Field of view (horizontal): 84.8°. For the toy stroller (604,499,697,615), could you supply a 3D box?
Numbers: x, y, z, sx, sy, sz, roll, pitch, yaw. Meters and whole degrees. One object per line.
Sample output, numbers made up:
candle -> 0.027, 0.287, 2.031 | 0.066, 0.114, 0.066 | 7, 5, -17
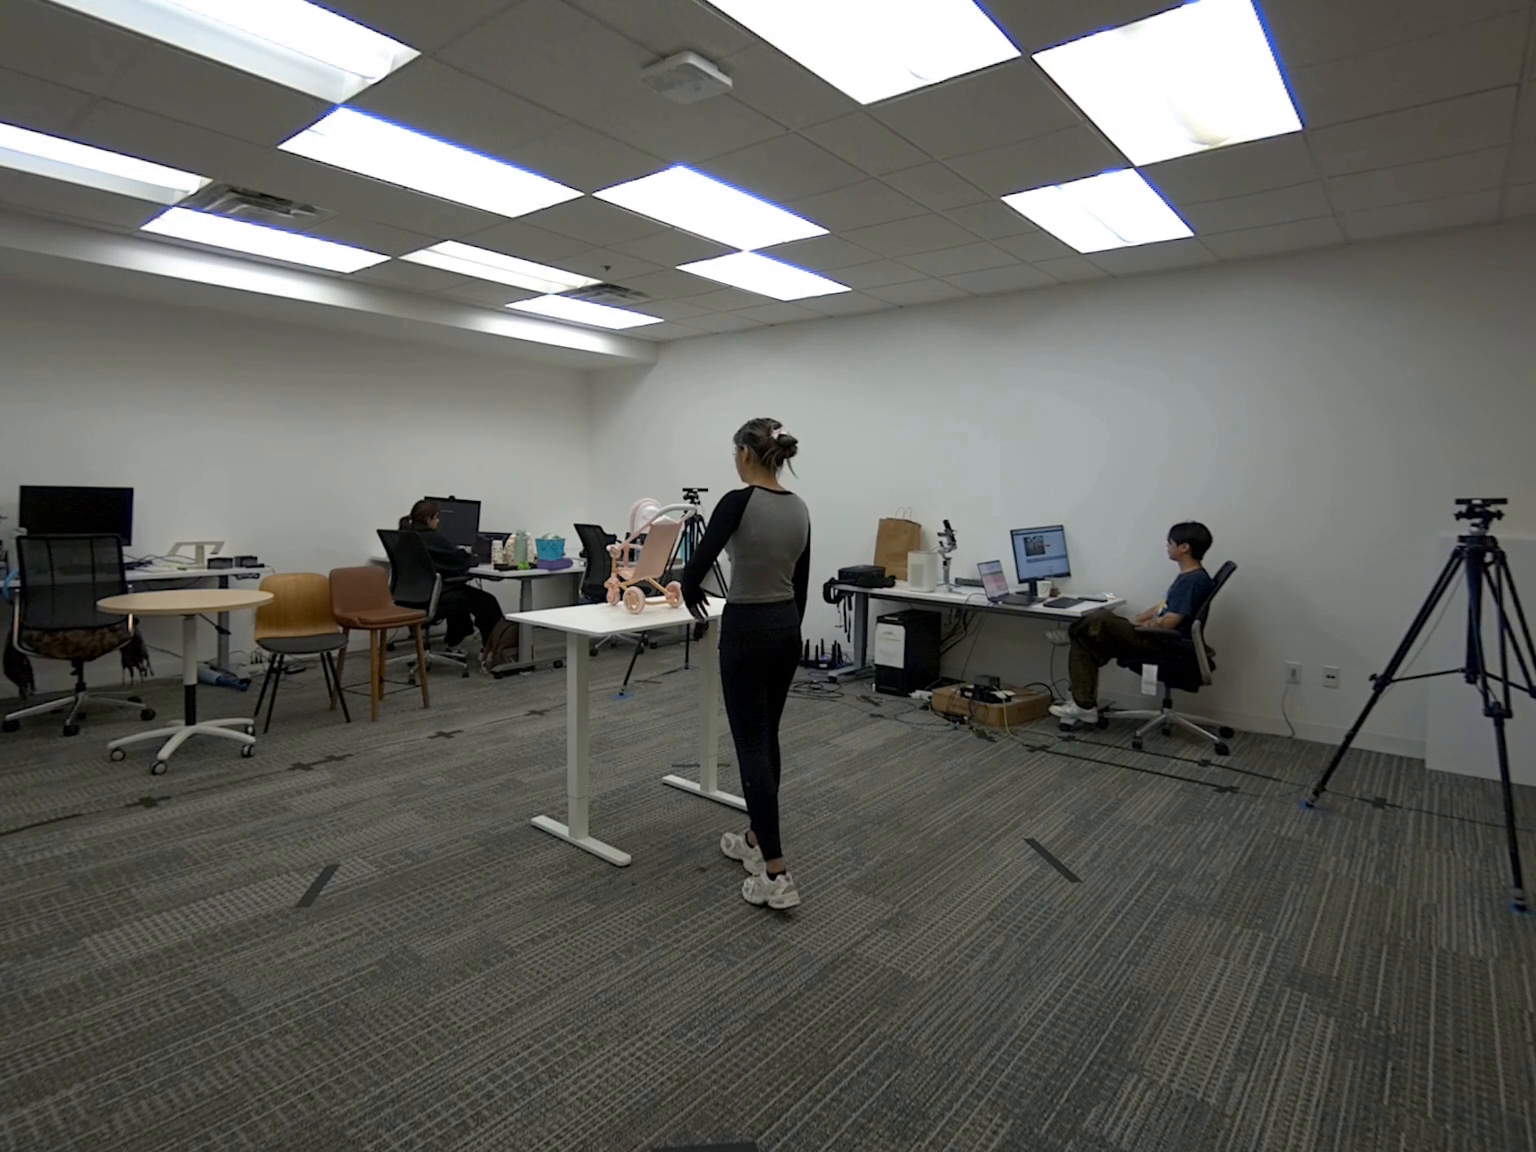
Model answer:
toy stroller -> -0.528, -0.087, 3.566 | 0.355, 0.530, 0.273 | 22, 16, 39
